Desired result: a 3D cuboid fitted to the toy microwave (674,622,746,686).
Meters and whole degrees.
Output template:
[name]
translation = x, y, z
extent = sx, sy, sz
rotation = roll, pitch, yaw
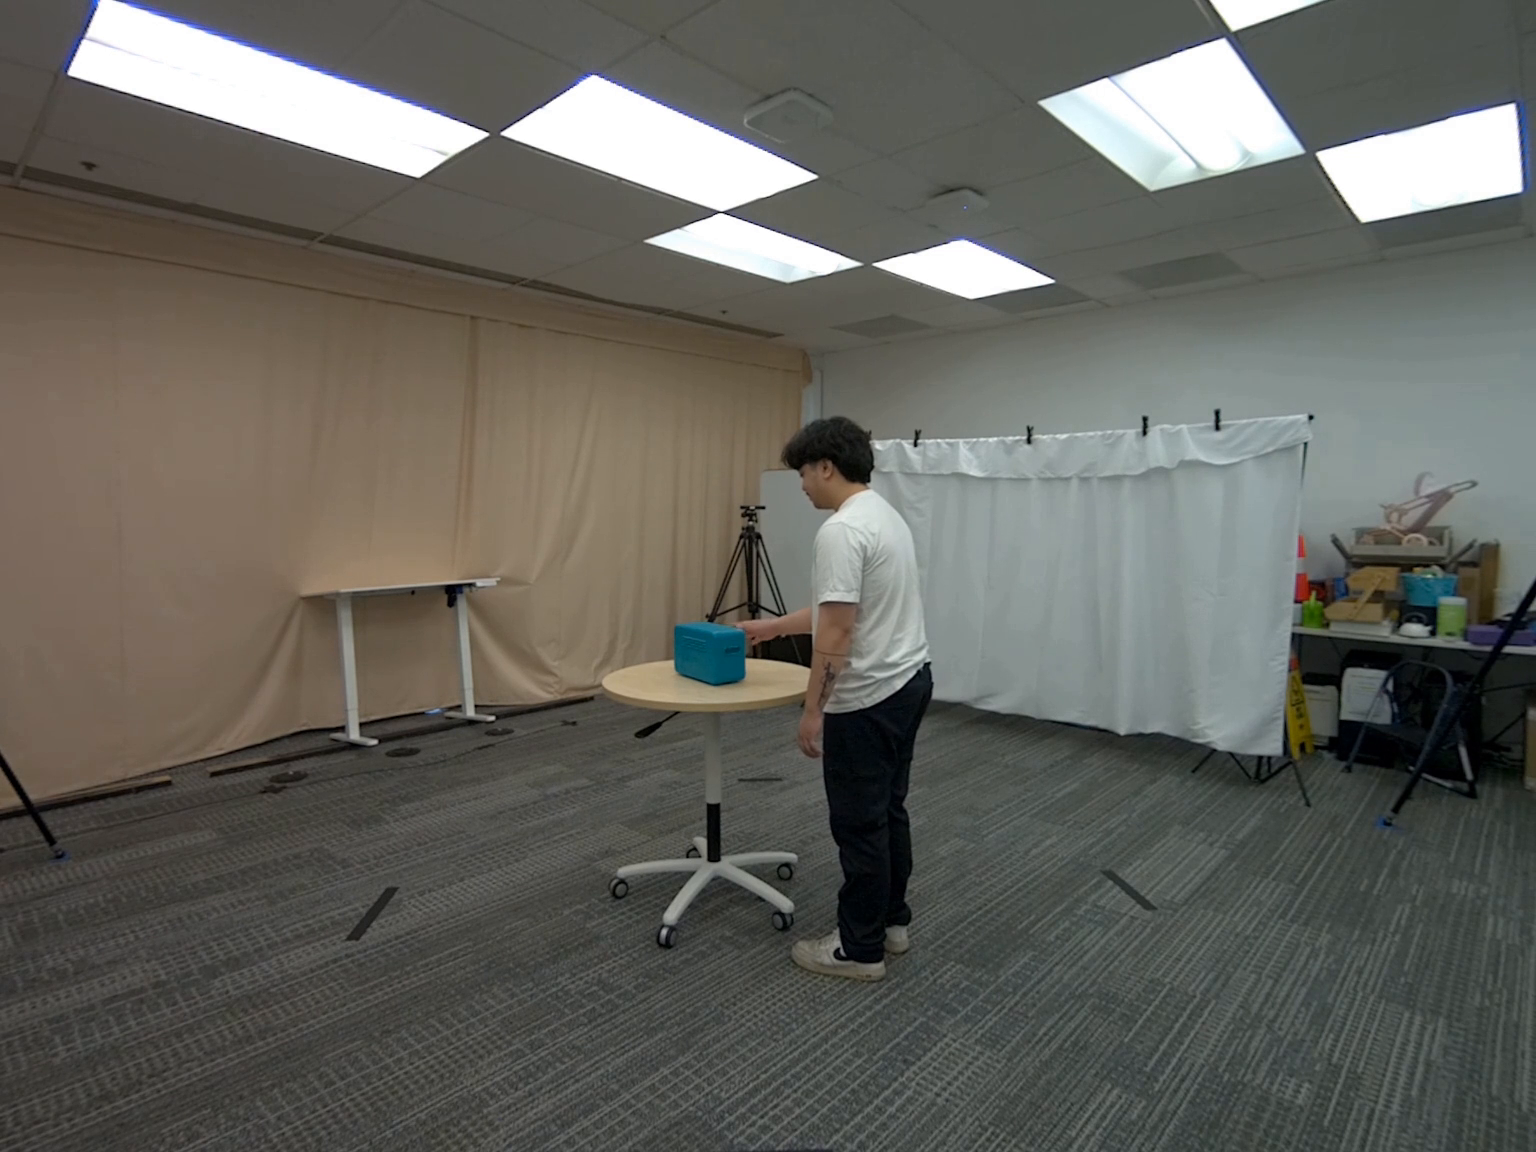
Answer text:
[toy microwave]
translation = -0.197, 0.265, 2.939
extent = 0.148, 0.184, 0.295
rotation = -3, 4, -34
